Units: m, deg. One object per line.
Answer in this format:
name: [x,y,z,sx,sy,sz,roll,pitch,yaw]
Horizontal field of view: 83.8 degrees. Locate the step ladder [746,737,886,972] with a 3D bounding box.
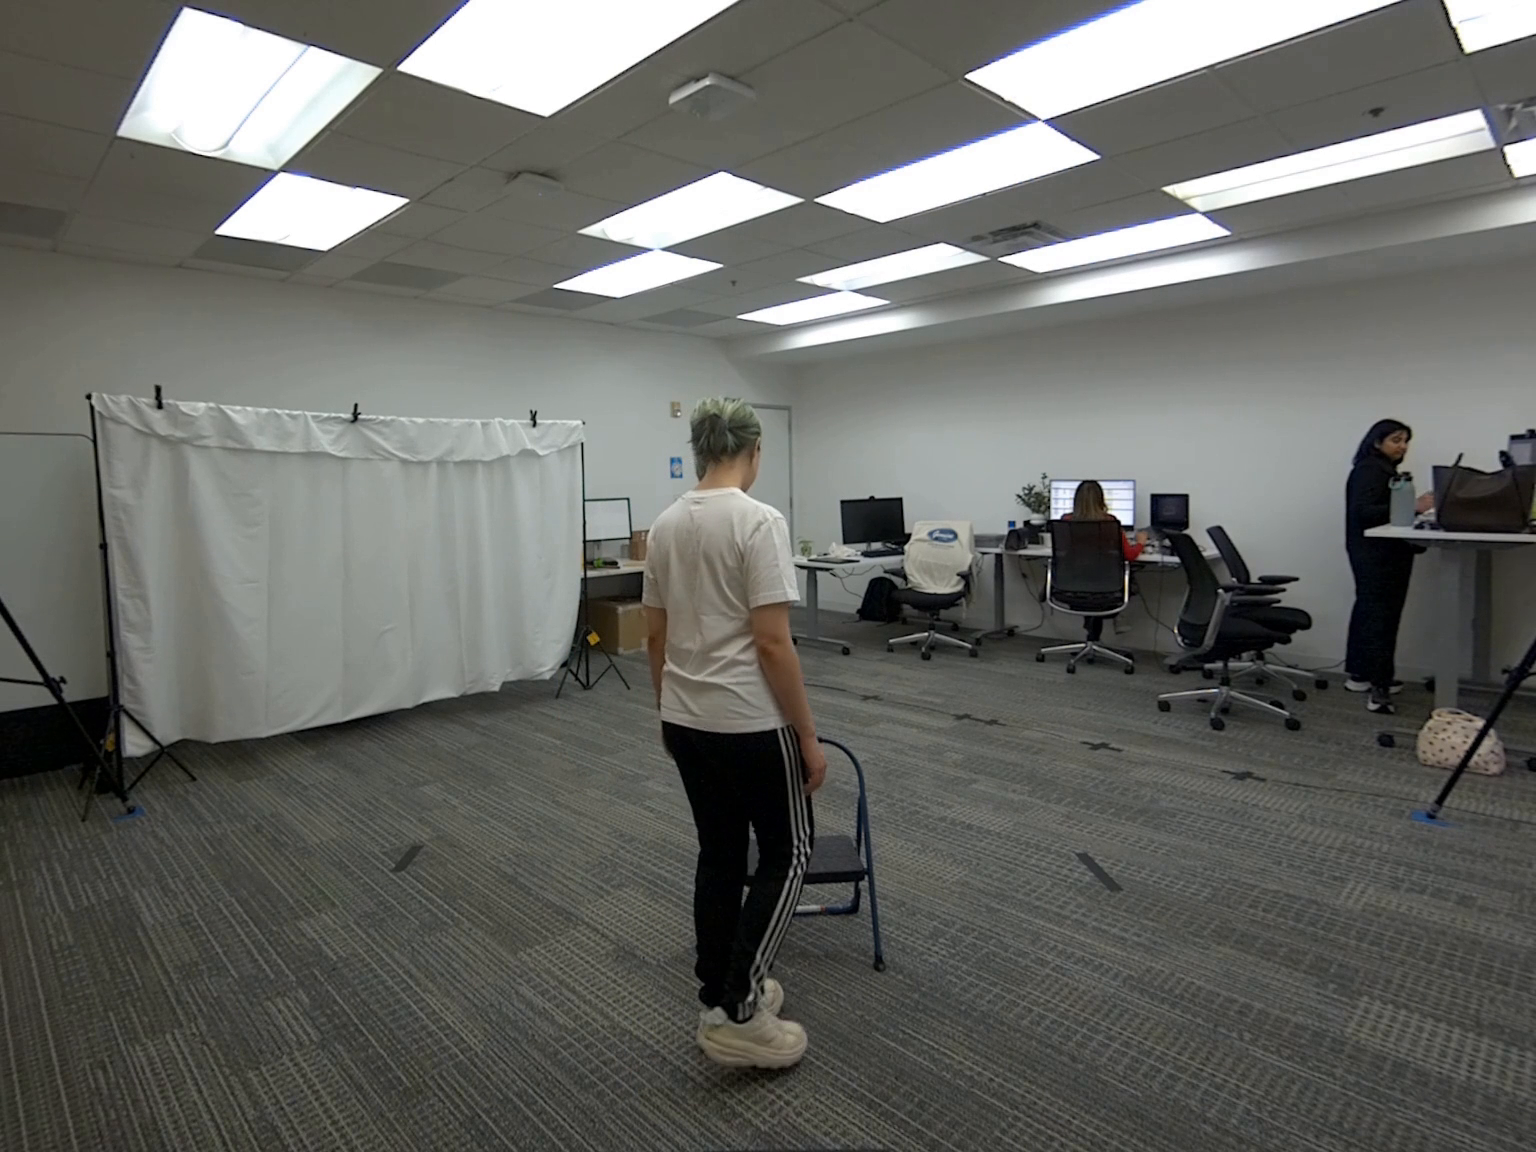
step ladder: [0.107,0.808,2.567,0.429,0.604,0.351,-2,4,-4]
